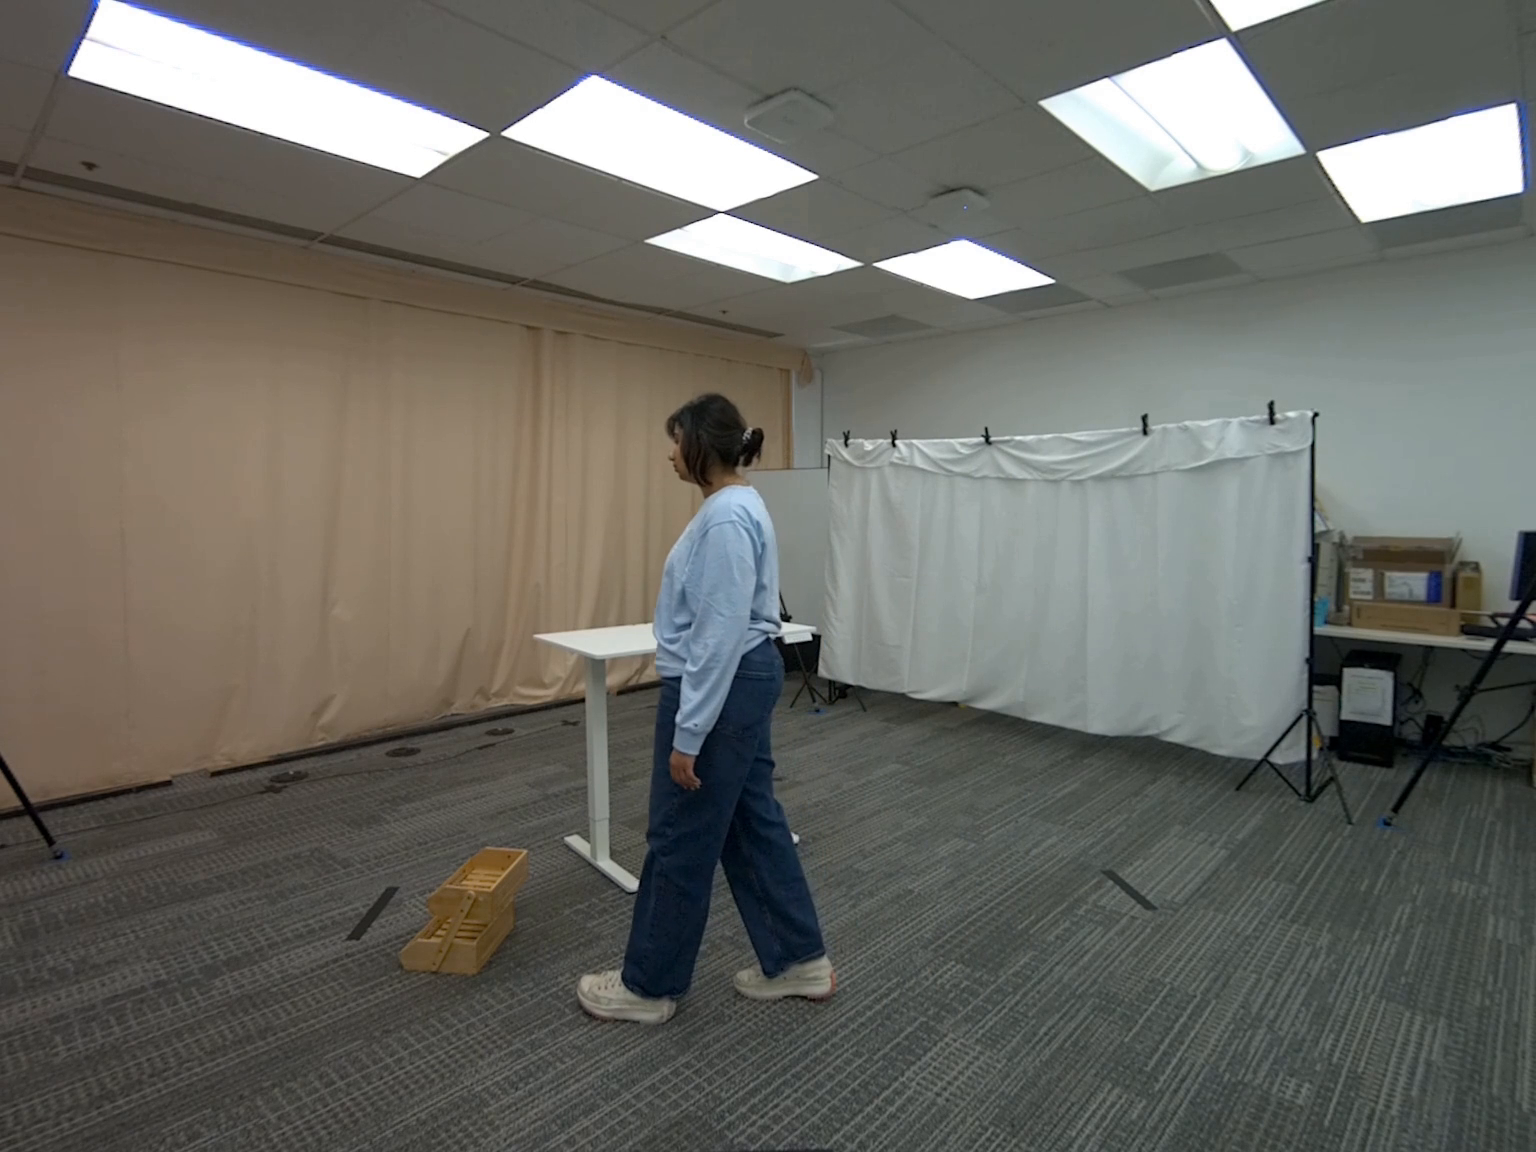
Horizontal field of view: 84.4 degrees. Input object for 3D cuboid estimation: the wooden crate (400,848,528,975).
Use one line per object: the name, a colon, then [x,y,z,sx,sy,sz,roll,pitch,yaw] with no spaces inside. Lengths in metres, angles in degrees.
wooden crate: [-0.971,1.048,2.656,0.304,0.273,0.323,1,3,6]
